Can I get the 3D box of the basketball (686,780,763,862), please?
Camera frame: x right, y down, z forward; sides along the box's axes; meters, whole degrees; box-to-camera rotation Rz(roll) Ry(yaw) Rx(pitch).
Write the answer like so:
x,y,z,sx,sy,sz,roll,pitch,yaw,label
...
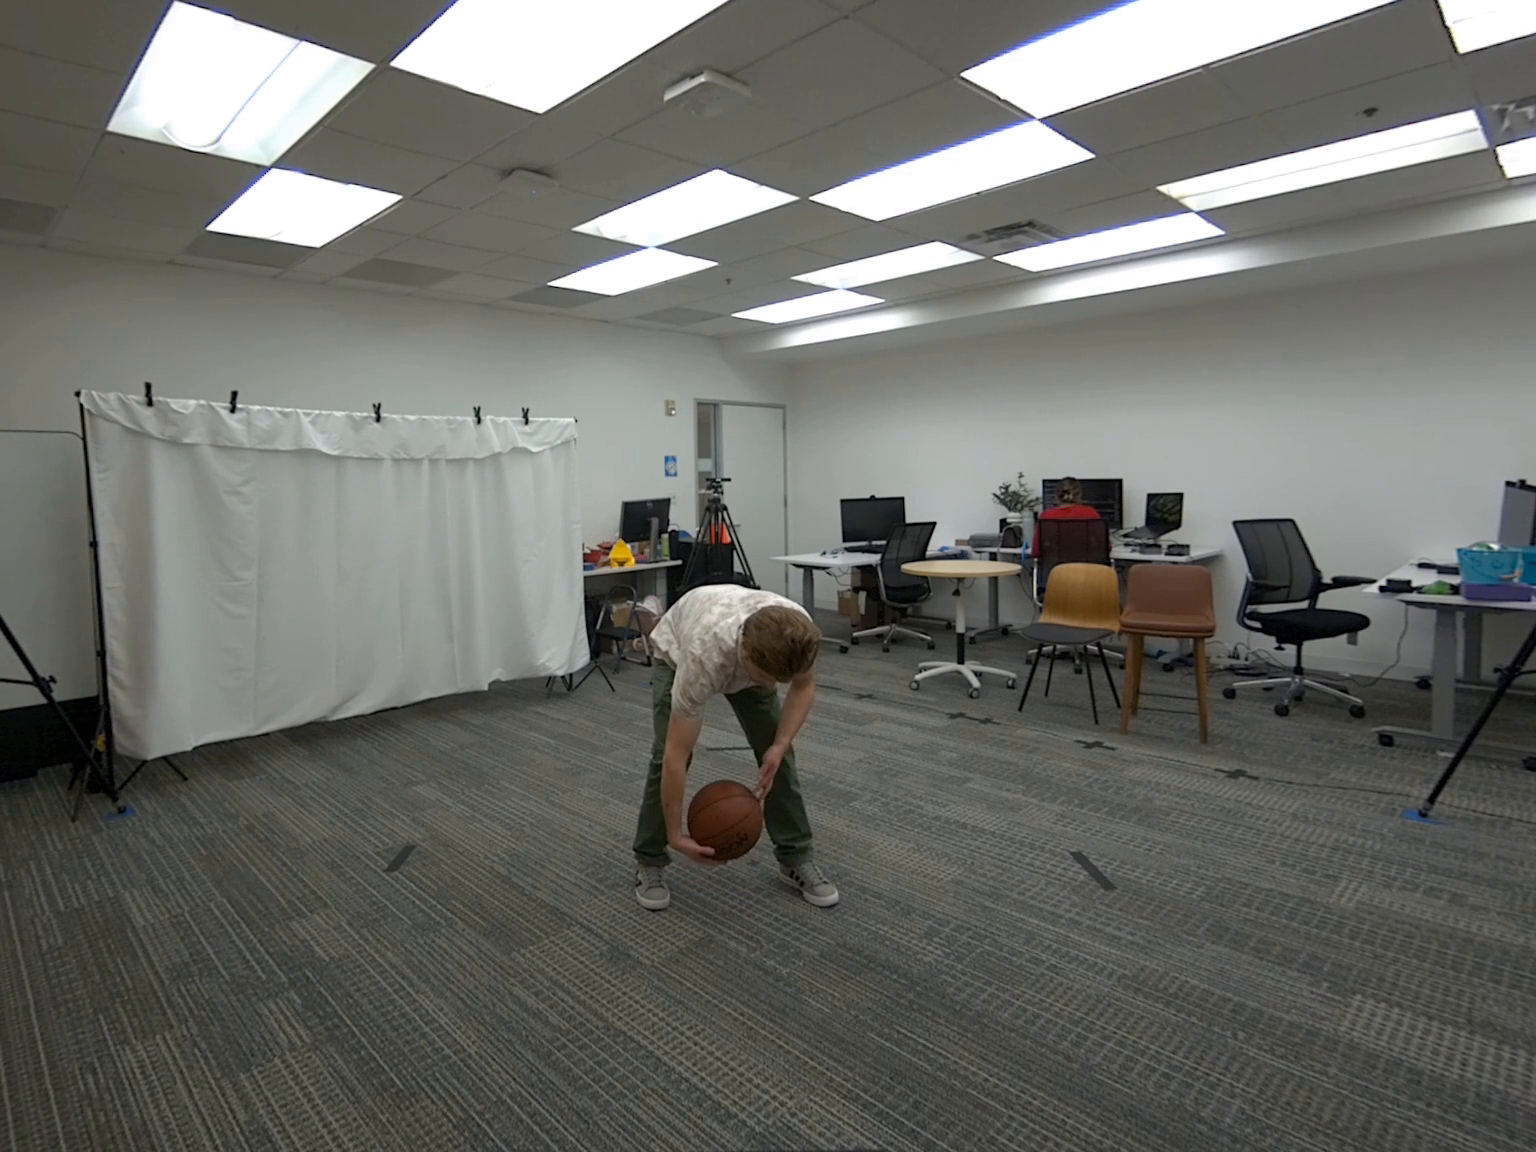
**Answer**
x,y,z,sx,sy,sz,roll,pitch,yaw,label
-0.132,0.767,2.665,0.236,0.235,0.237,-1,5,-2,basketball
